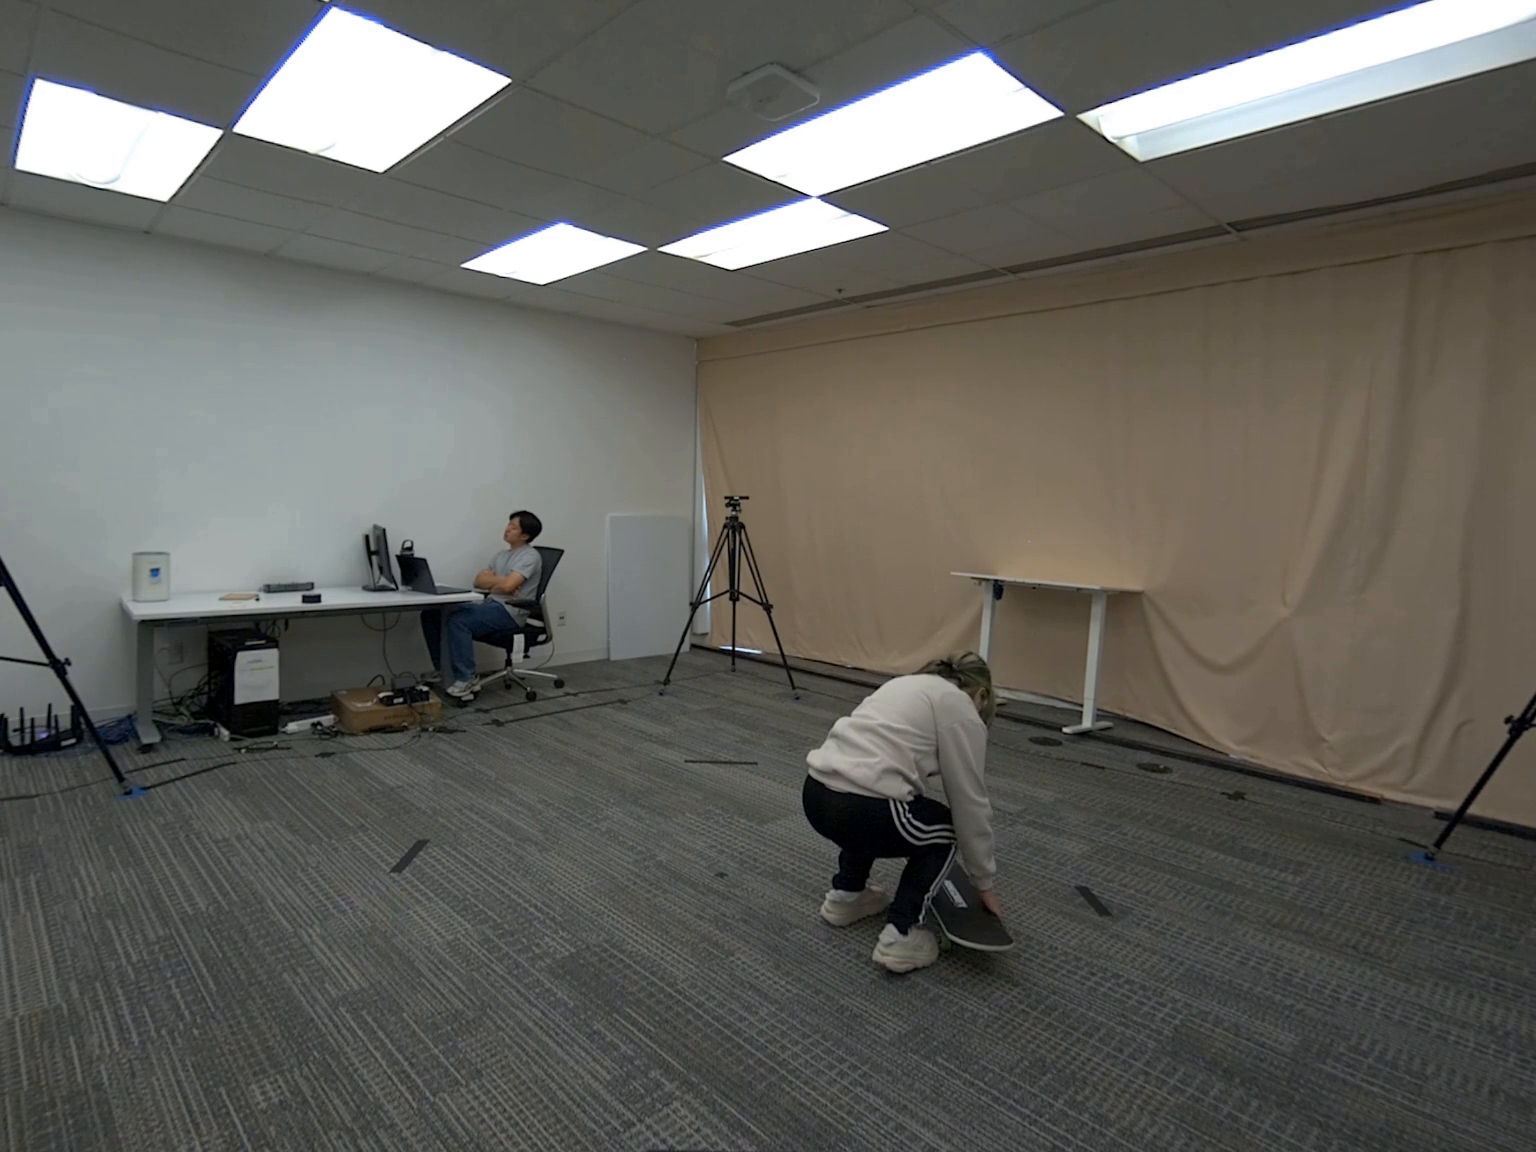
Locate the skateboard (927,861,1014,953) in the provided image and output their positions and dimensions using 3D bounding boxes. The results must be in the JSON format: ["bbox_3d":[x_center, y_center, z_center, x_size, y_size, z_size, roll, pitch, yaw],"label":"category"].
[{"bbox_3d":[0.607,1.070,2.766,0.193,0.110,0.788,3,4,-3],"label":"skateboard"}]
